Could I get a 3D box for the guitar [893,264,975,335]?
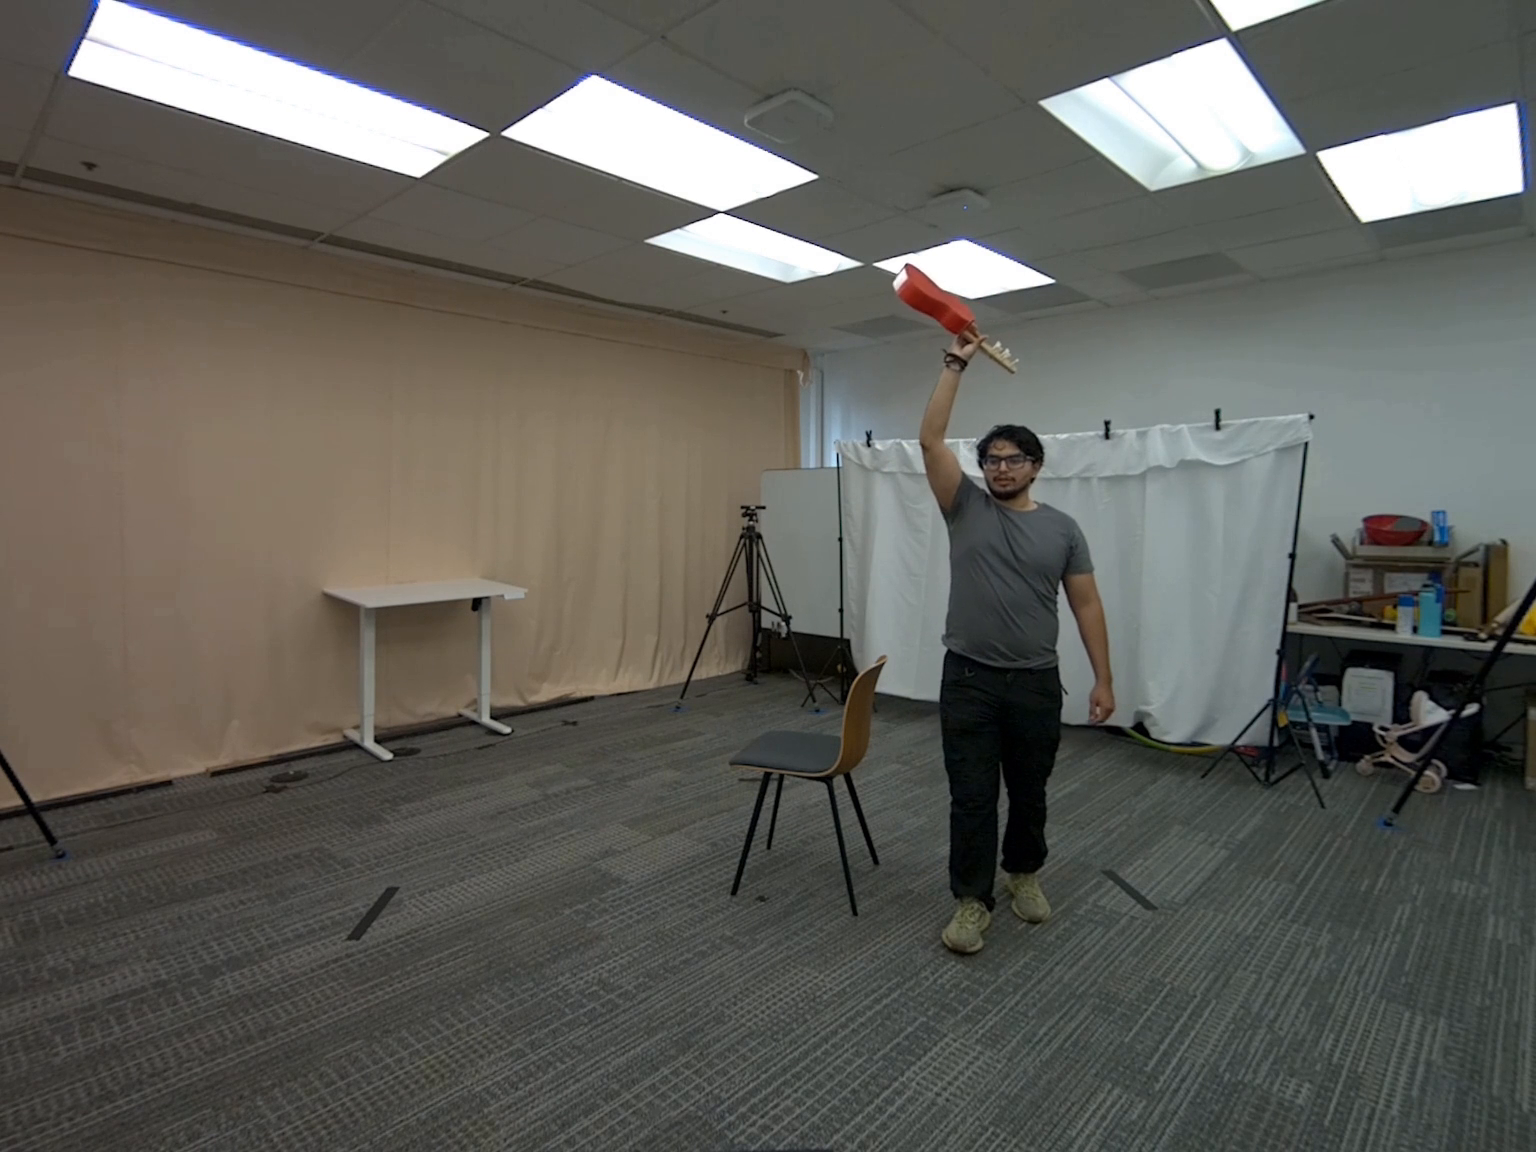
[{"bbox_3d":[0.613,-0.816,2.650,0.486,0.071,0.196,25,38,-20],"label":"guitar"}]
